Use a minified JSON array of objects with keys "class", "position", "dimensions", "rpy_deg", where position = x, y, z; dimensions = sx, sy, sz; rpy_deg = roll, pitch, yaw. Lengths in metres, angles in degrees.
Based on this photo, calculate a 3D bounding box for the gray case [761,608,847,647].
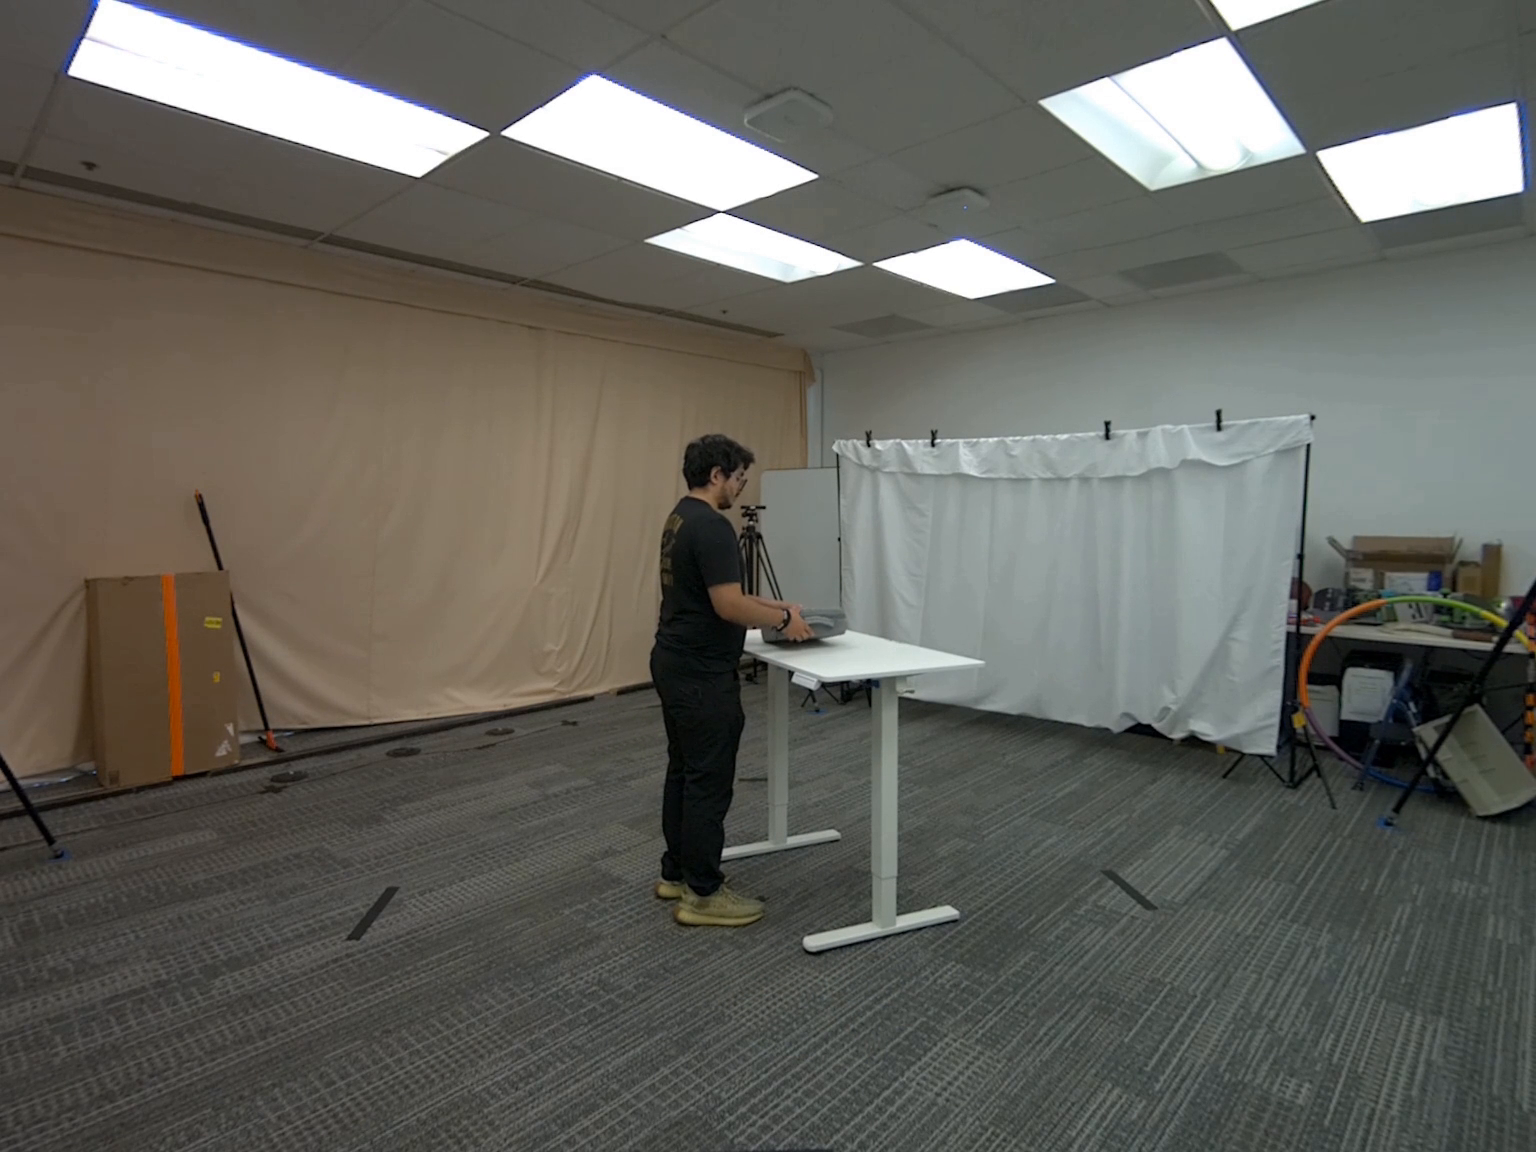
[{"class":"gray case","position":[0.131,0.182,3.104],"dimensions":[0.252,0.105,0.263],"rpy_deg":[-3,-8,-18]}]
